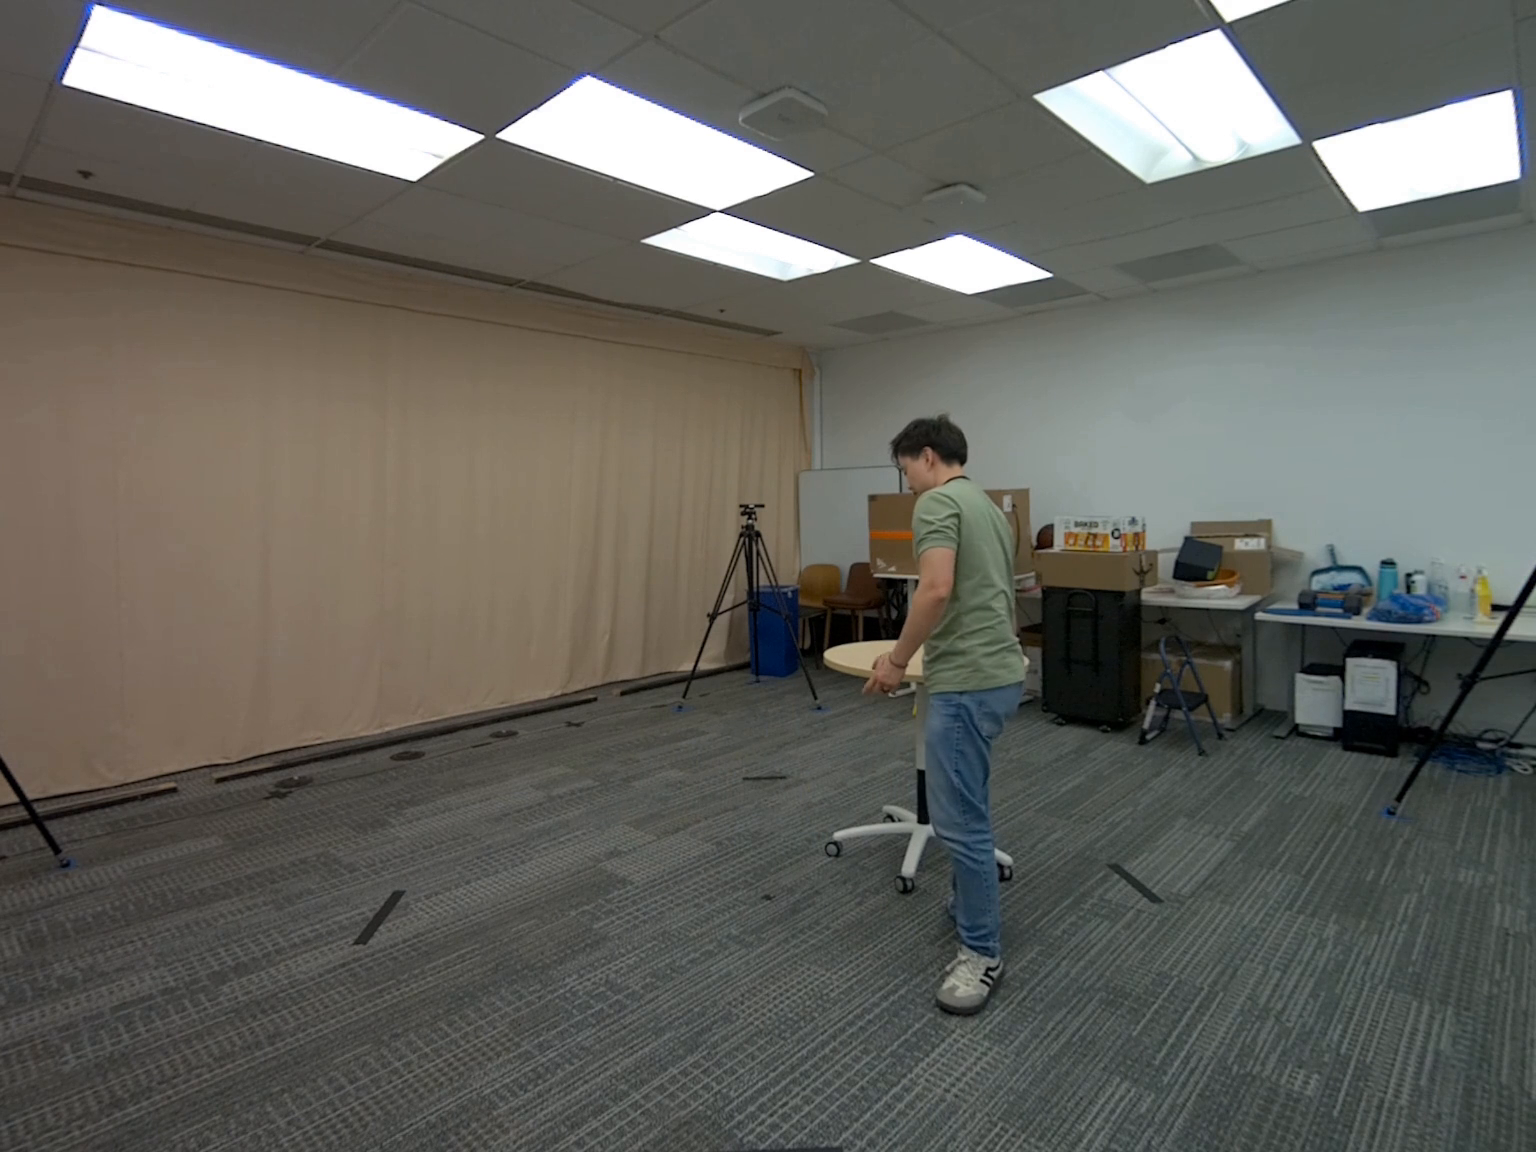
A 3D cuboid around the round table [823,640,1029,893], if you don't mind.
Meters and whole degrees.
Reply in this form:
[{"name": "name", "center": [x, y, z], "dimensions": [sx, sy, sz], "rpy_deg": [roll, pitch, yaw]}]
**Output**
[{"name": "round table", "center": [0.602, 0.708, 3.276], "dimensions": [0.763, 0.792, 0.766], "rpy_deg": [0, 4, -2]}]
